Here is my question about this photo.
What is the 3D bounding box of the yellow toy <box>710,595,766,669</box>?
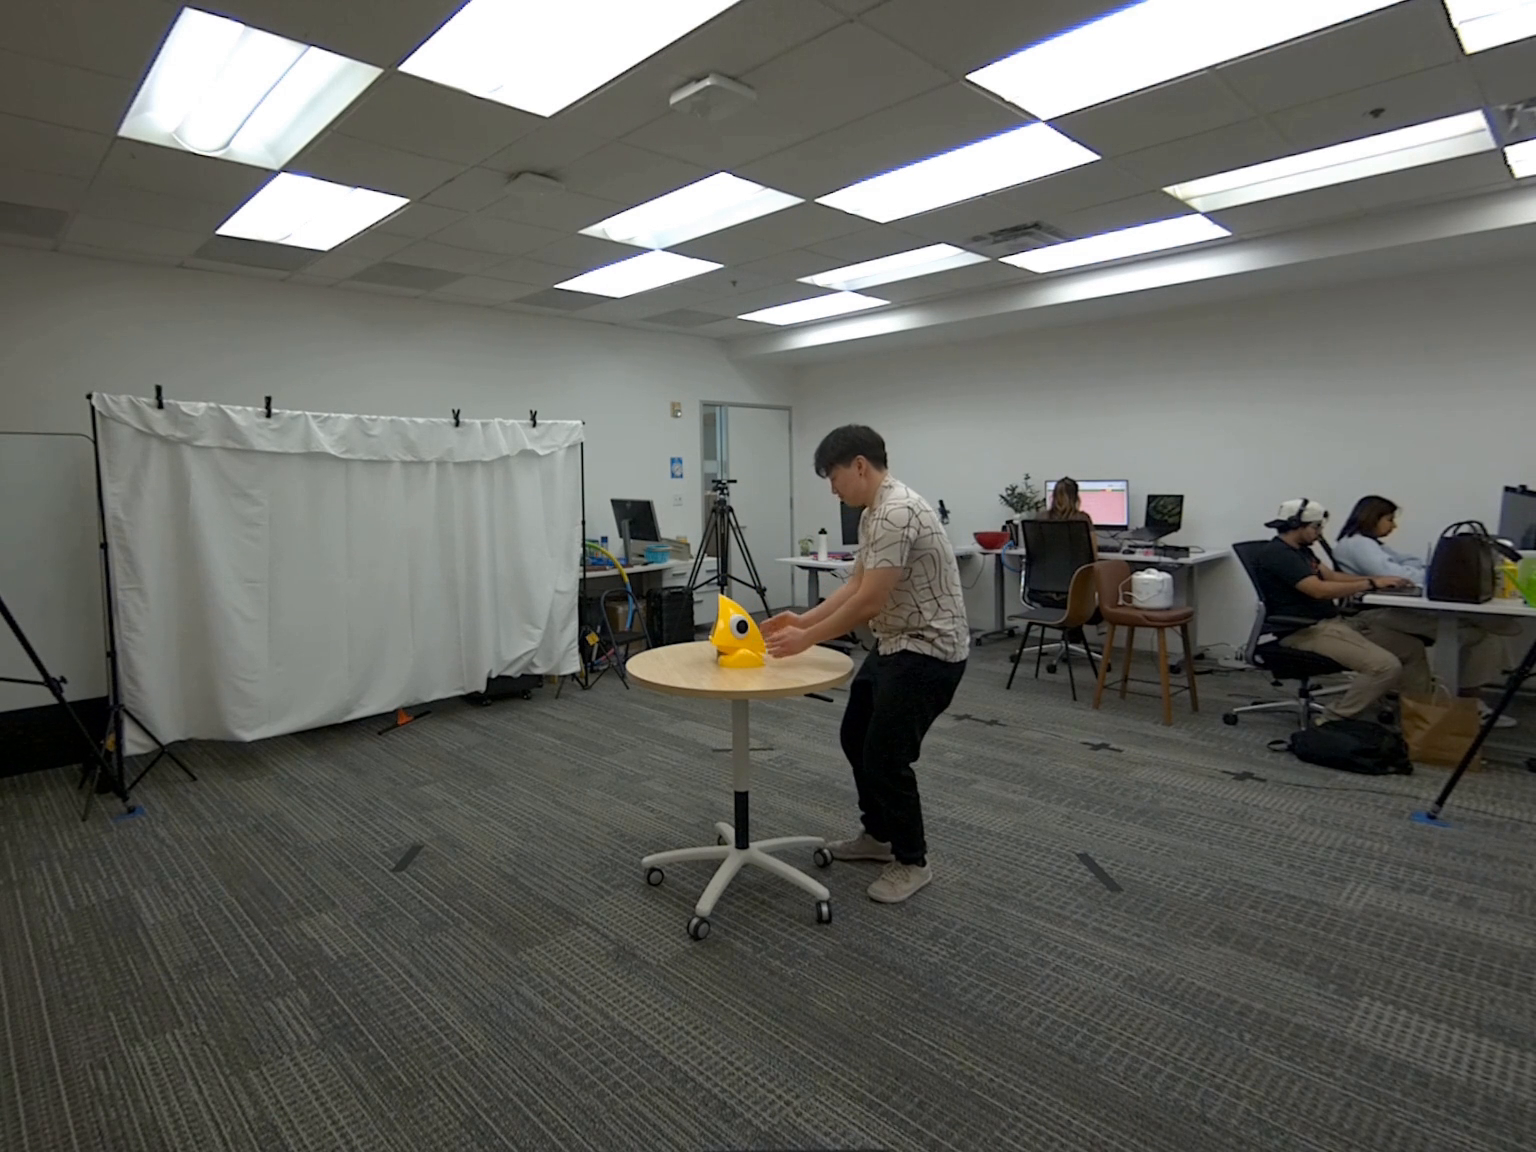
[{"bbox_3d":[-0.098,0.174,2.890,0.192,0.230,0.206,-3,5,-4],"label":"yellow toy"}]
